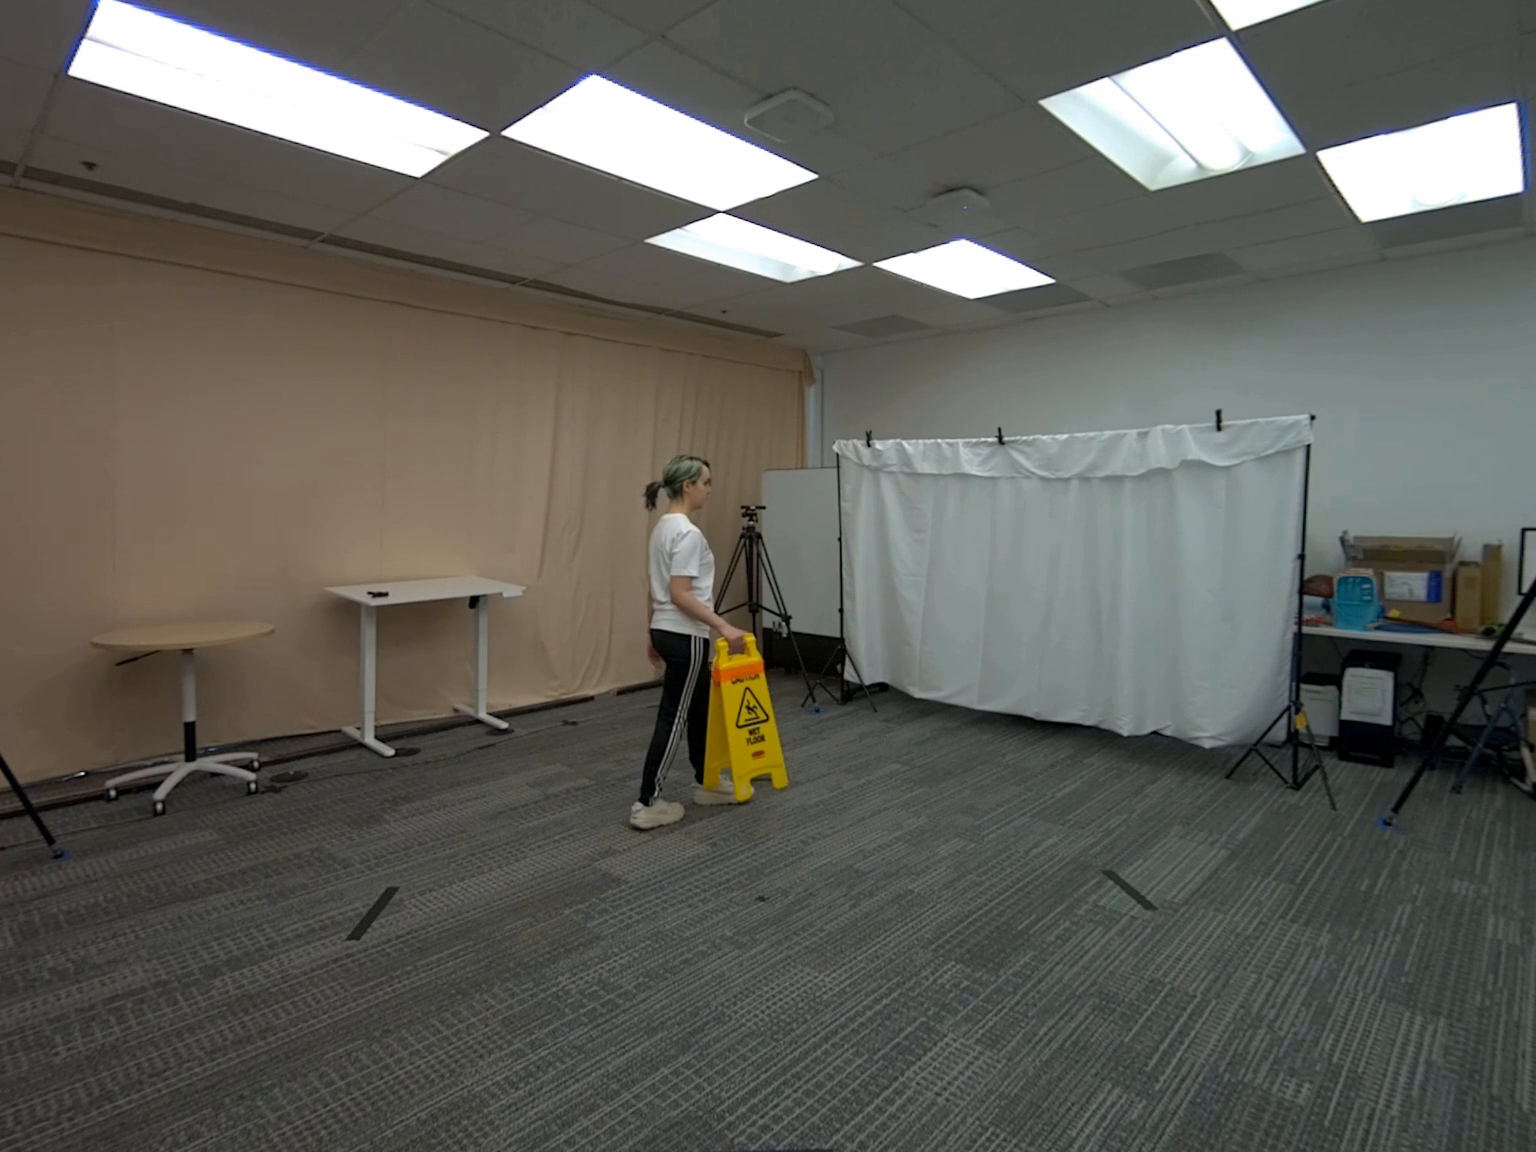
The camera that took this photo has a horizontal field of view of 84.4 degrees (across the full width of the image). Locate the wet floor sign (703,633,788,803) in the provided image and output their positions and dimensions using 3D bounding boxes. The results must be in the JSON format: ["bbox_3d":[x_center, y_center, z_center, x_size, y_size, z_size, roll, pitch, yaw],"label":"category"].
[{"bbox_3d":[-0.112,0.577,3.586,0.274,0.645,0.299,-6,4,-39],"label":"wet floor sign"}]
